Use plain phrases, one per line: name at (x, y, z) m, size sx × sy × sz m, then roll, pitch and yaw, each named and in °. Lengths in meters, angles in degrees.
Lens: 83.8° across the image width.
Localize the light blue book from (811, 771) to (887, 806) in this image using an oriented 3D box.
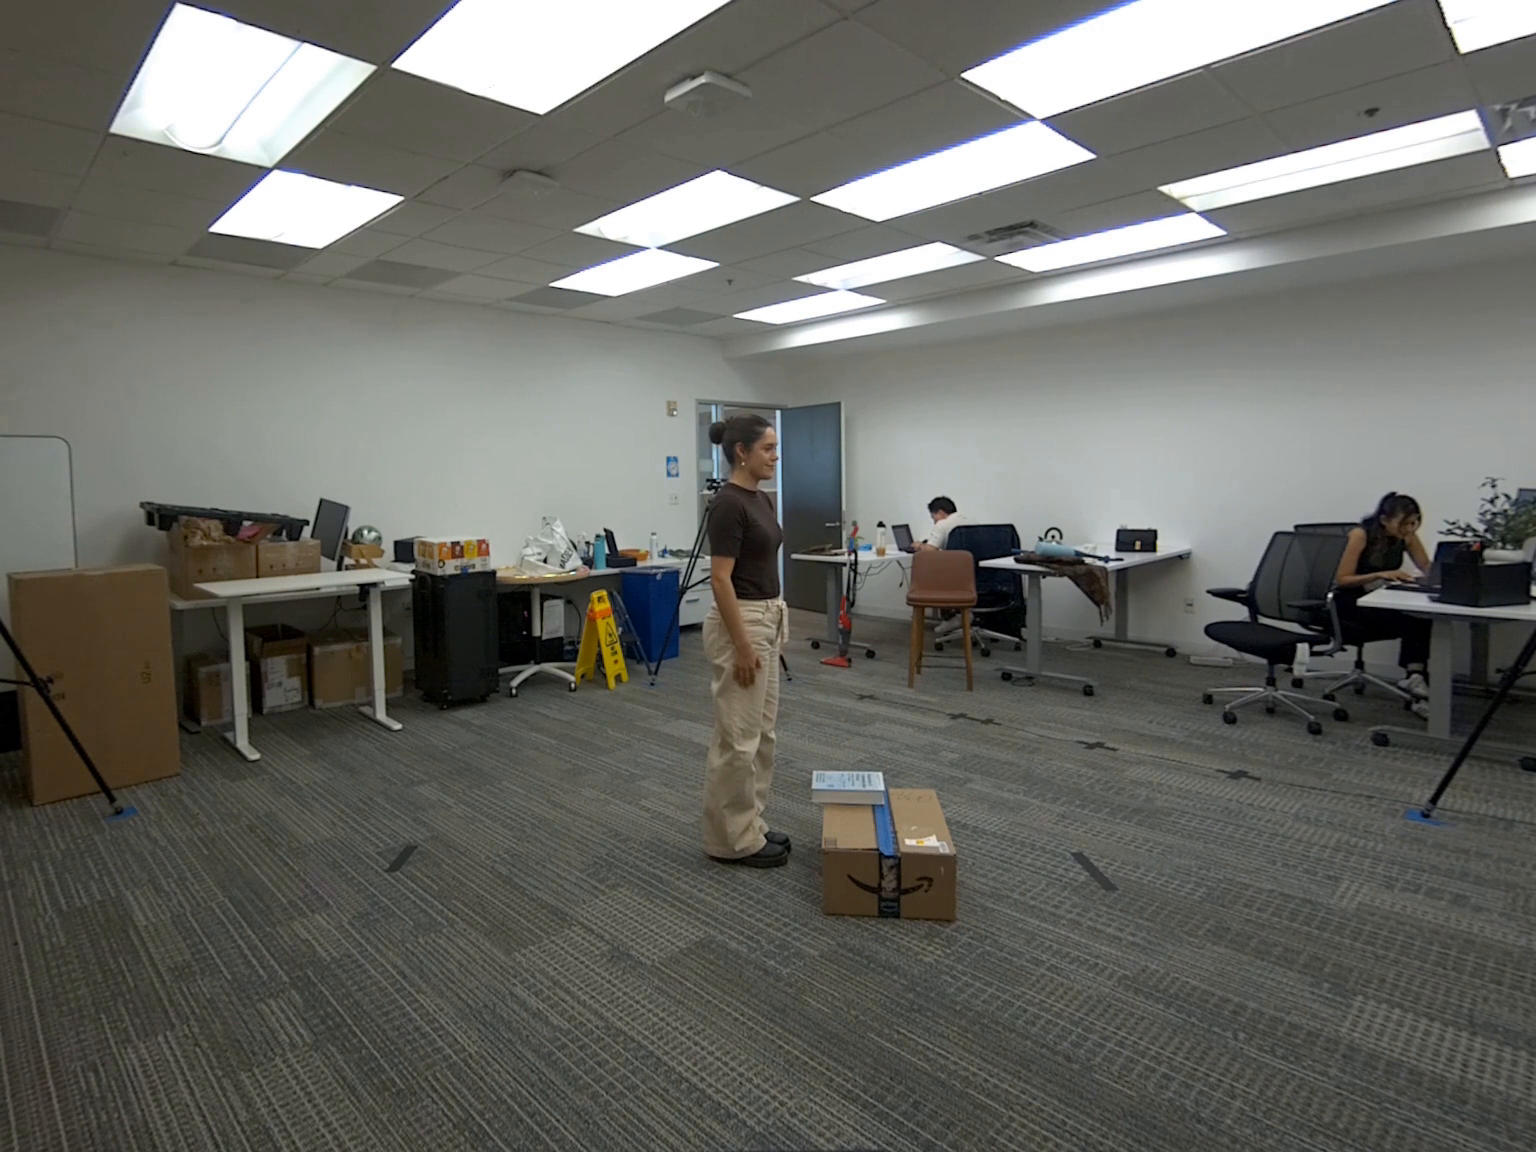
light blue book at (0.293, 0.779, 3.171) m, size 0.263 × 0.059 × 0.191 m, roll -1°, pitch 7°, yaw 6°
